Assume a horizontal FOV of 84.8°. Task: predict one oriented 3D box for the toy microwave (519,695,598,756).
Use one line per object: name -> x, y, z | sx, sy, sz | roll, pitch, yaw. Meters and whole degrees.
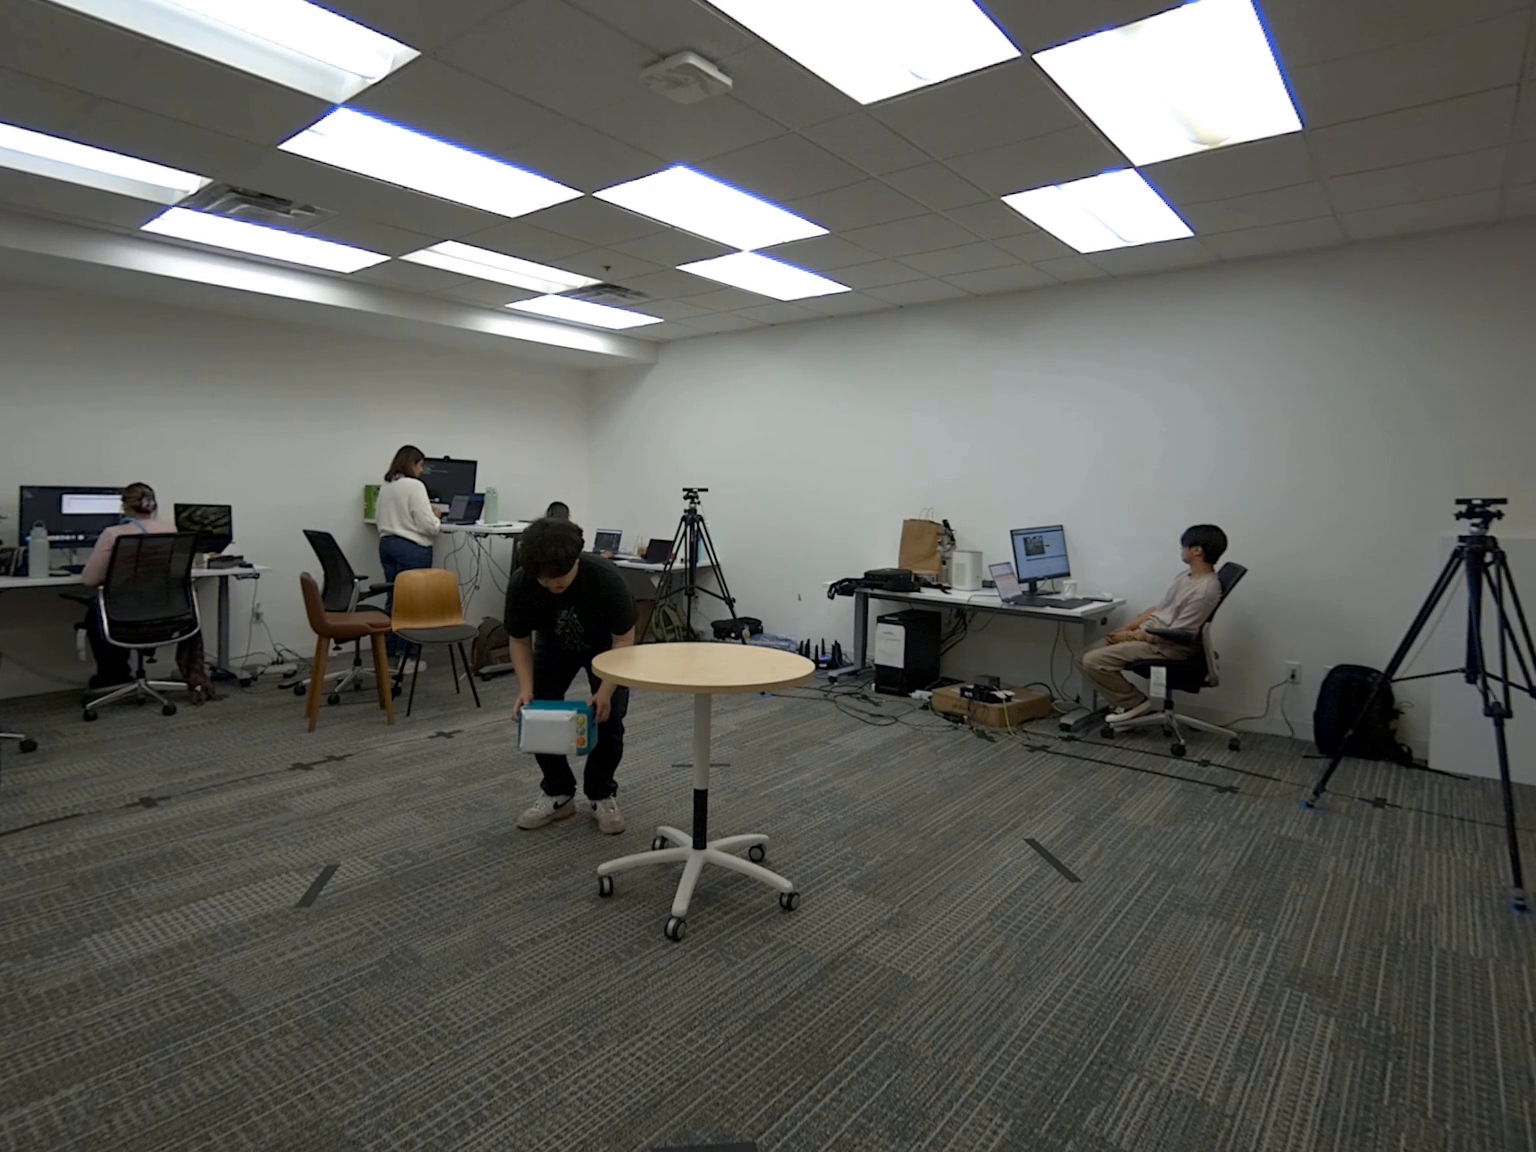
toy microwave -> -0.792, 0.568, 3.230 | 0.288, 0.184, 0.152 | 1, 2, 4
